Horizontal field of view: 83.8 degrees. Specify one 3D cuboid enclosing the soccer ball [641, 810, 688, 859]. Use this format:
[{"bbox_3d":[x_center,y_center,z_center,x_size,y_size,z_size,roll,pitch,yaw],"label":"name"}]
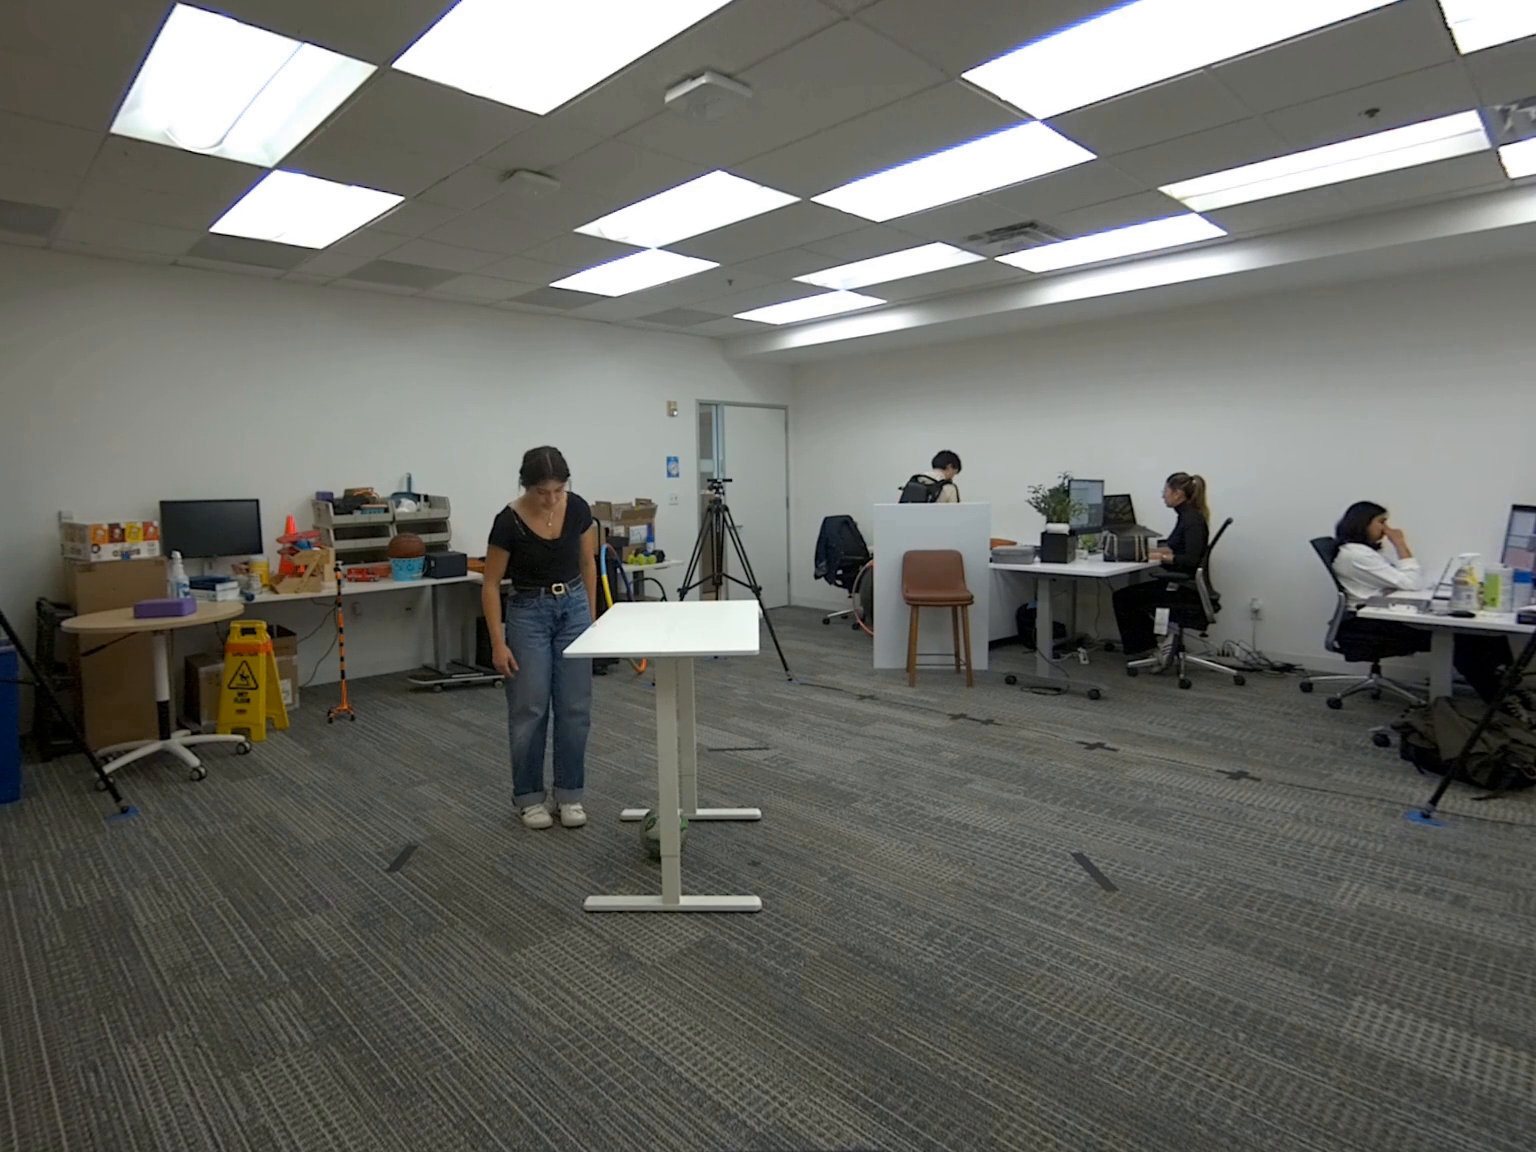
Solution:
[{"bbox_3d":[-0.382,0.956,3.175,0.187,0.187,0.188,-1,5,-2],"label":"soccer ball"}]
